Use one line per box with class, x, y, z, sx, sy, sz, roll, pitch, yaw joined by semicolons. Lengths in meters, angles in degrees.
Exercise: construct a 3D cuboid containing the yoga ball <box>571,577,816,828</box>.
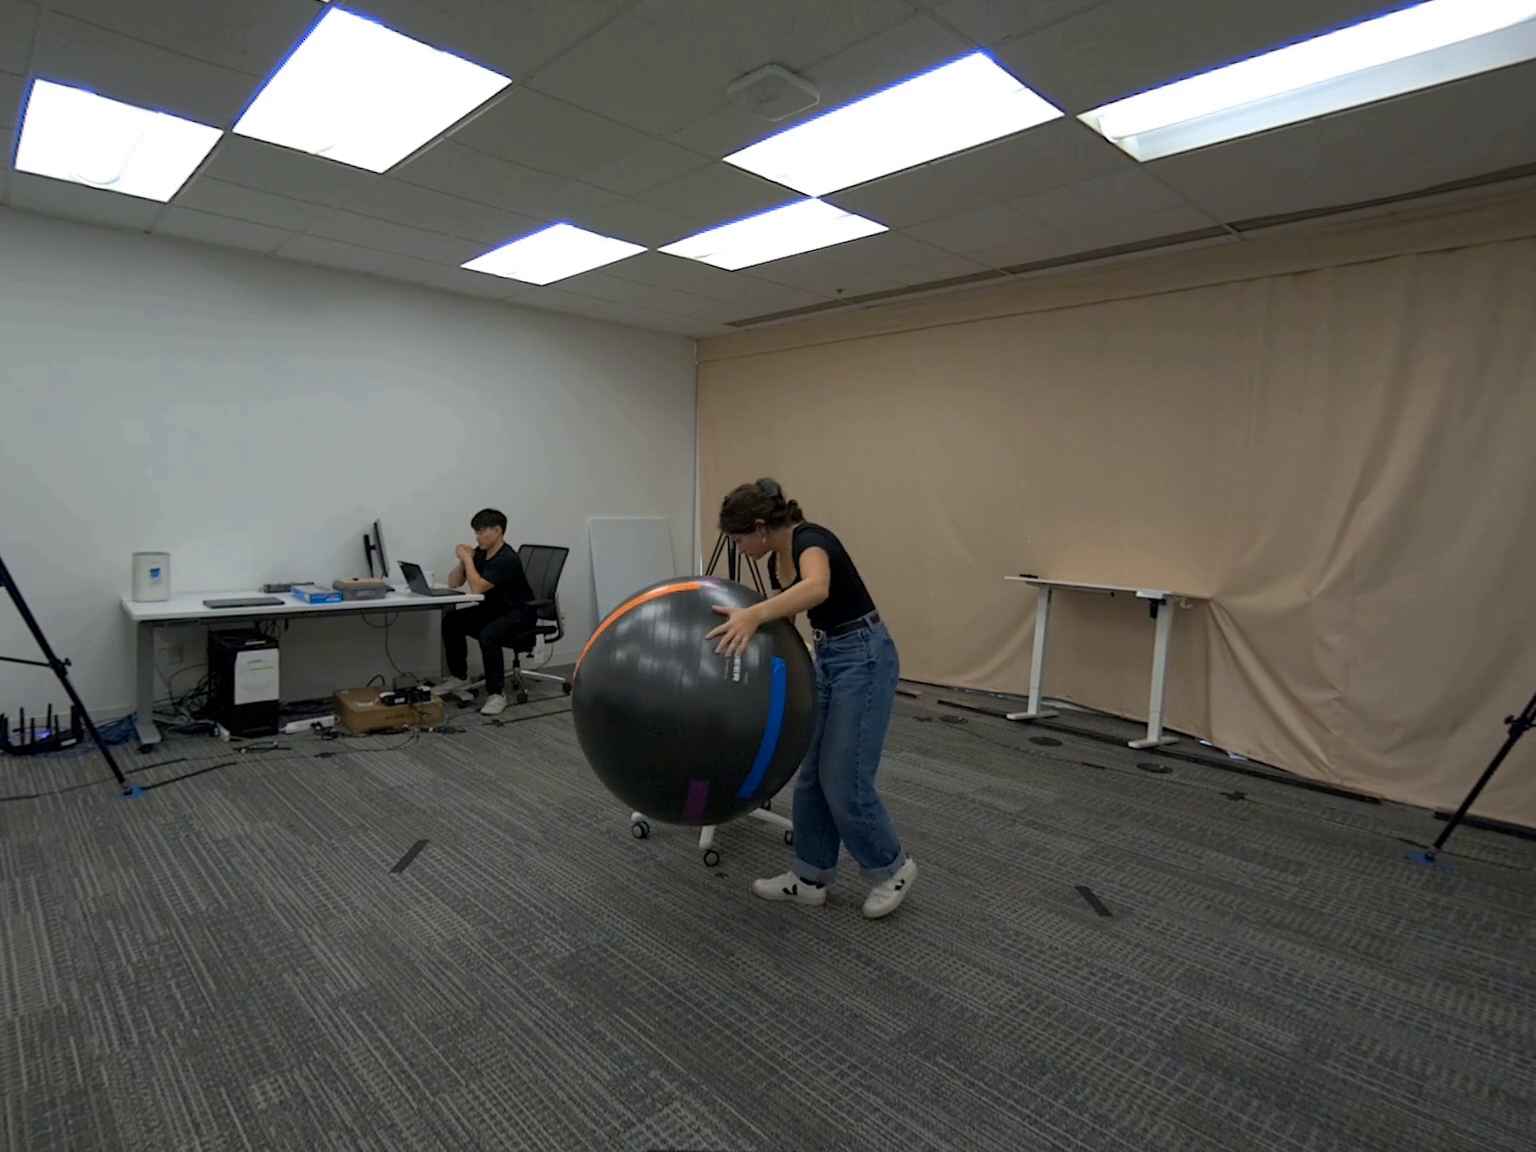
yoga ball;-0.224;0.388;2.612;0.757;0.756;0.761;1;4;-1
